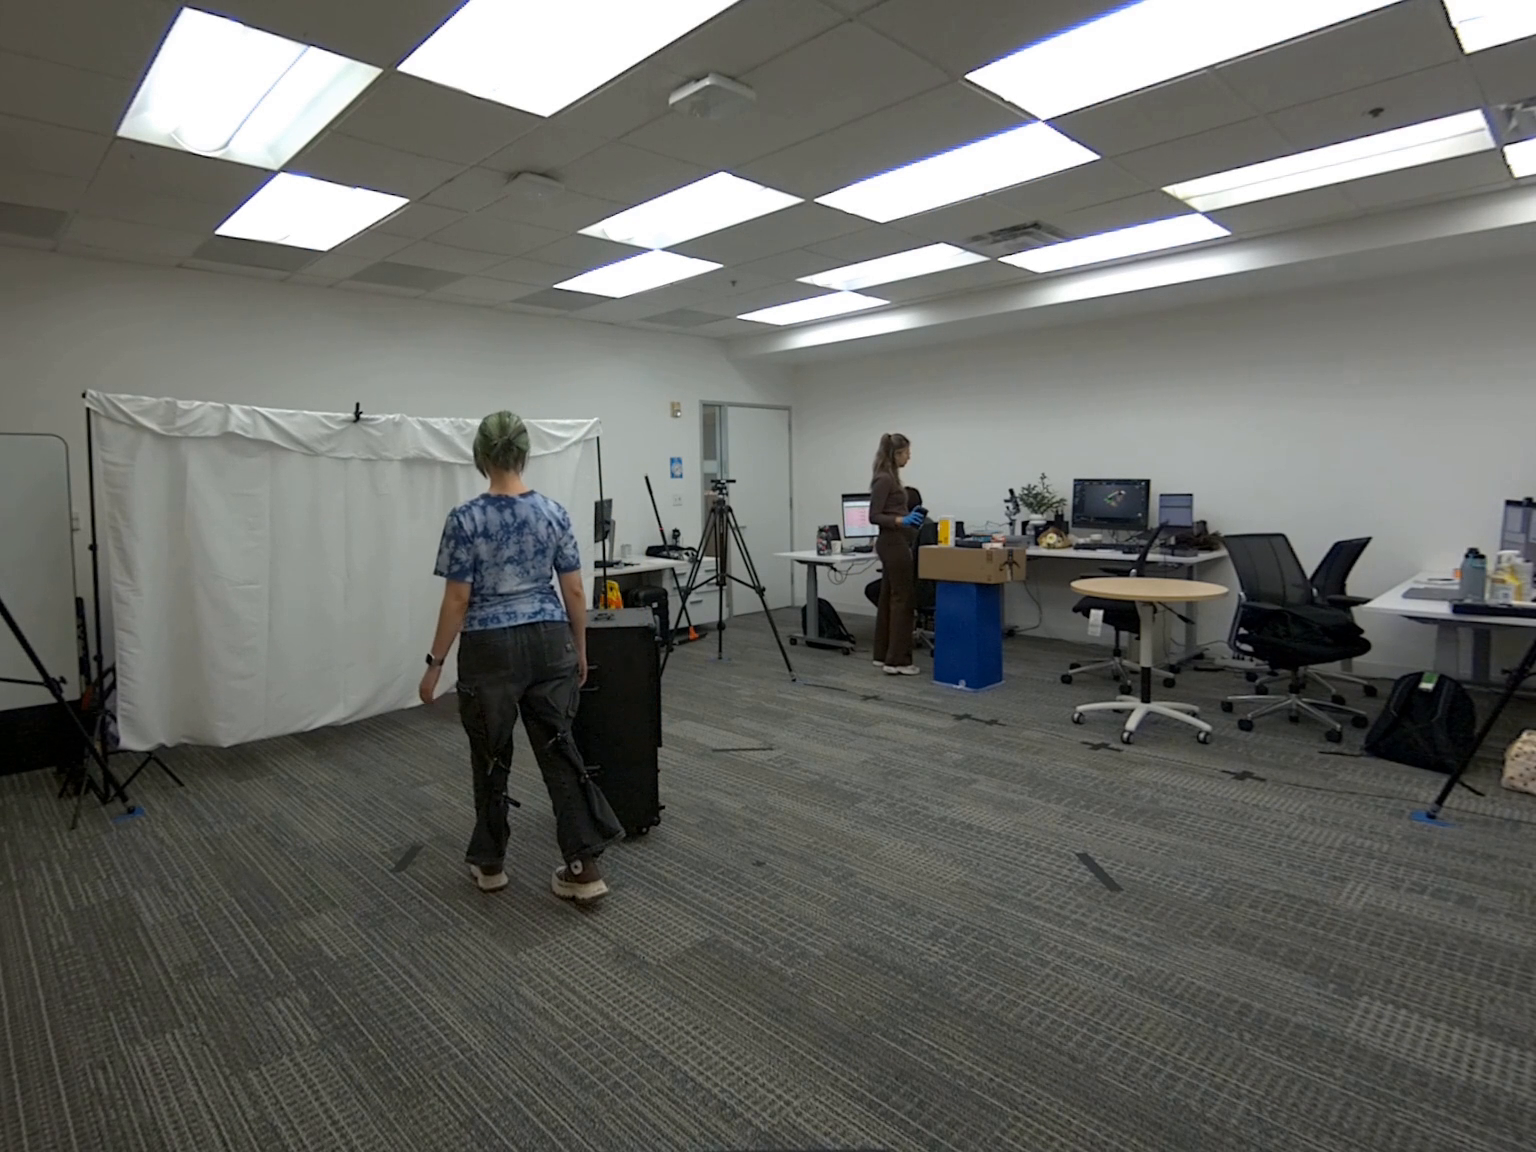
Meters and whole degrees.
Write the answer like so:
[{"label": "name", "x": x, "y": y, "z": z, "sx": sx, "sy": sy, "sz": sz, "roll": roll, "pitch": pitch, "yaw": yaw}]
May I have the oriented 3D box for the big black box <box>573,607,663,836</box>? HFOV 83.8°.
[{"label": "big black box", "x": -0.630, "y": 0.594, "z": 3.497, "sx": 0.394, "sy": 0.859, "sz": 0.526, "roll": -1, "pitch": 3, "yaw": -8}]
